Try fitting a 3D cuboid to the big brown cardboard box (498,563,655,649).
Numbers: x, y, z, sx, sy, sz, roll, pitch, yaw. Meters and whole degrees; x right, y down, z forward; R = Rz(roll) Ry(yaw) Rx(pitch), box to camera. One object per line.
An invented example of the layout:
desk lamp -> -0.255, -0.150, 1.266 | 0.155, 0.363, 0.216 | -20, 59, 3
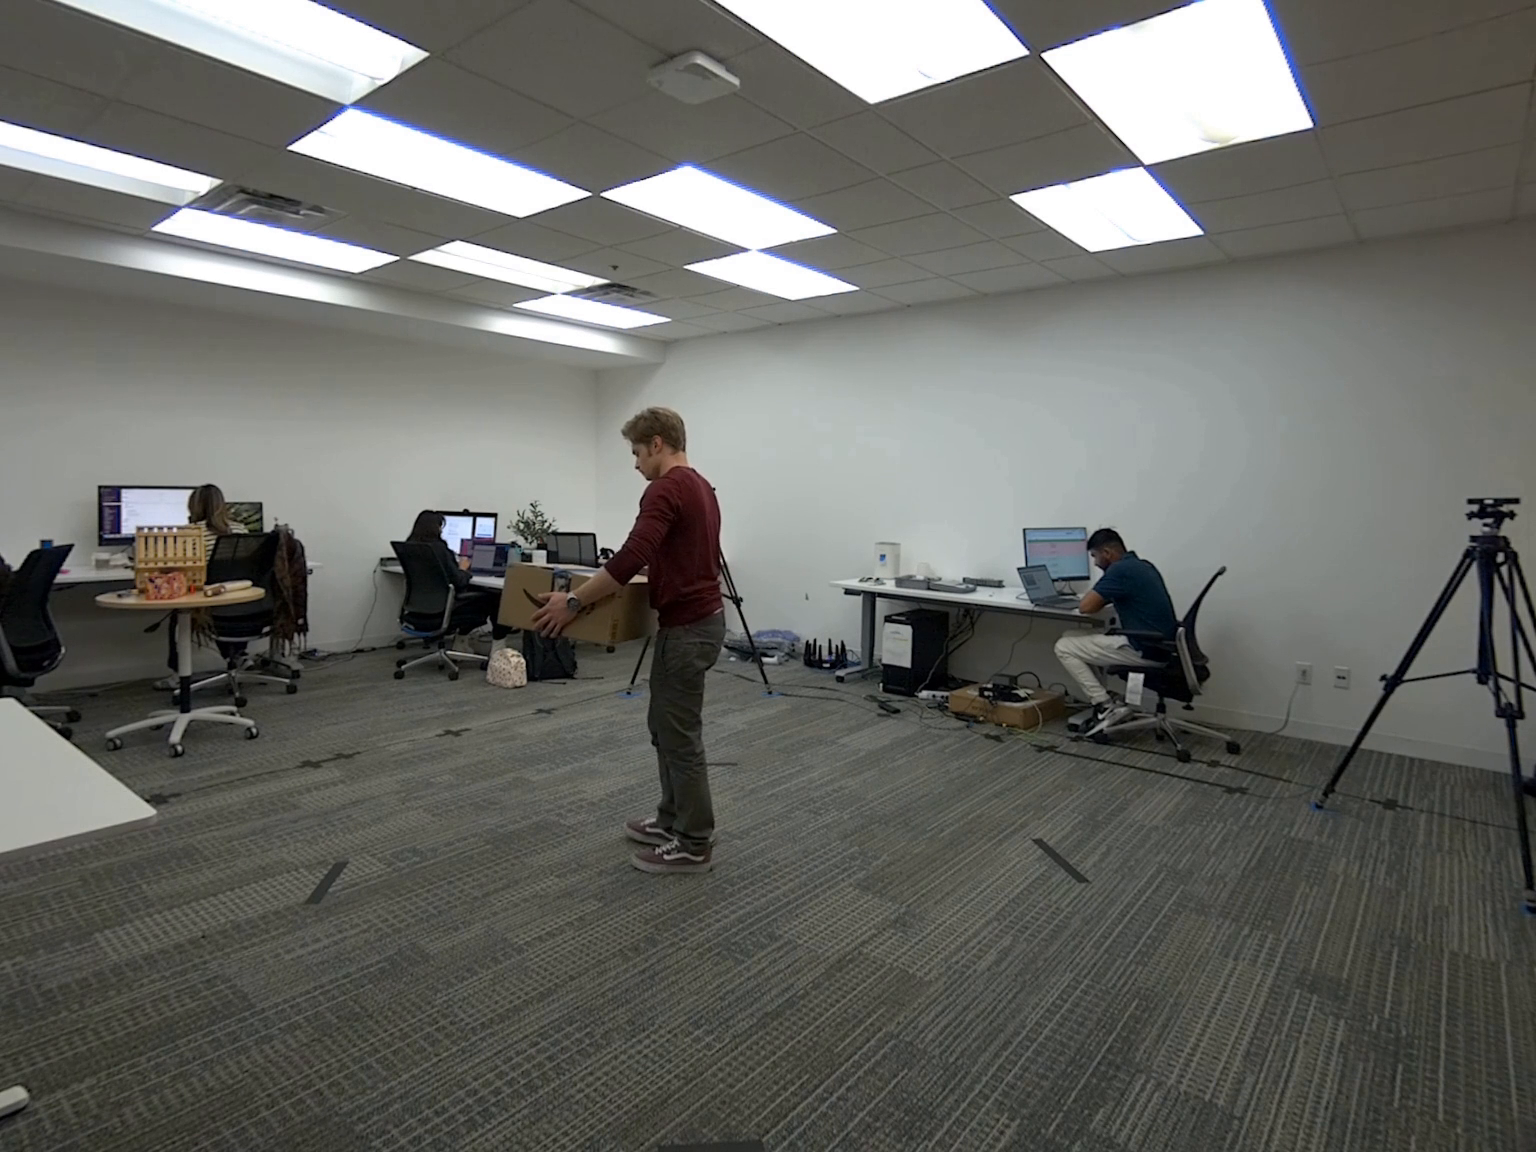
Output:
big brown cardboard box -> -0.675, 0.090, 3.145 | 0.424, 0.233, 0.580 | 9, 0, 11
